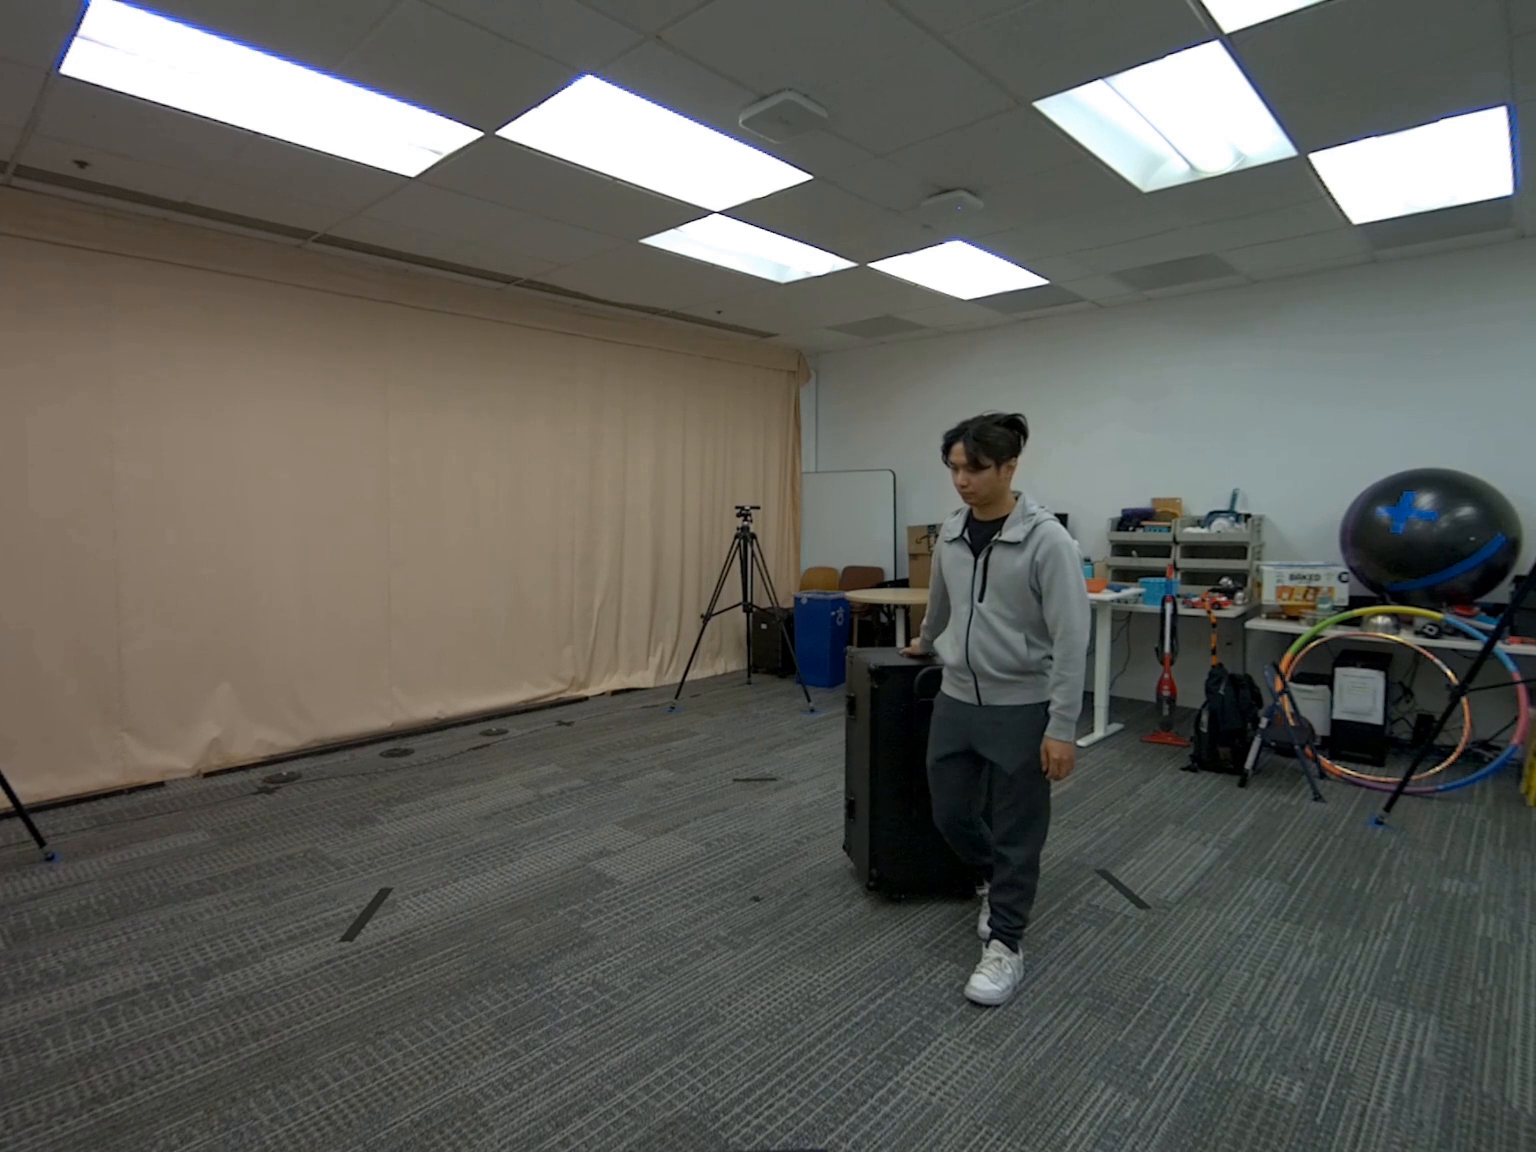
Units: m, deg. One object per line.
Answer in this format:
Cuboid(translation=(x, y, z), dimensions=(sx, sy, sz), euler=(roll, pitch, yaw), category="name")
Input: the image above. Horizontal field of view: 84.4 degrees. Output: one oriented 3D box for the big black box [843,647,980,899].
Cuboid(translation=(0.565, 0.715, 3.056), dimensions=(0.518, 0.859, 0.400), euler=(1, 4, -6), category="big black box")
